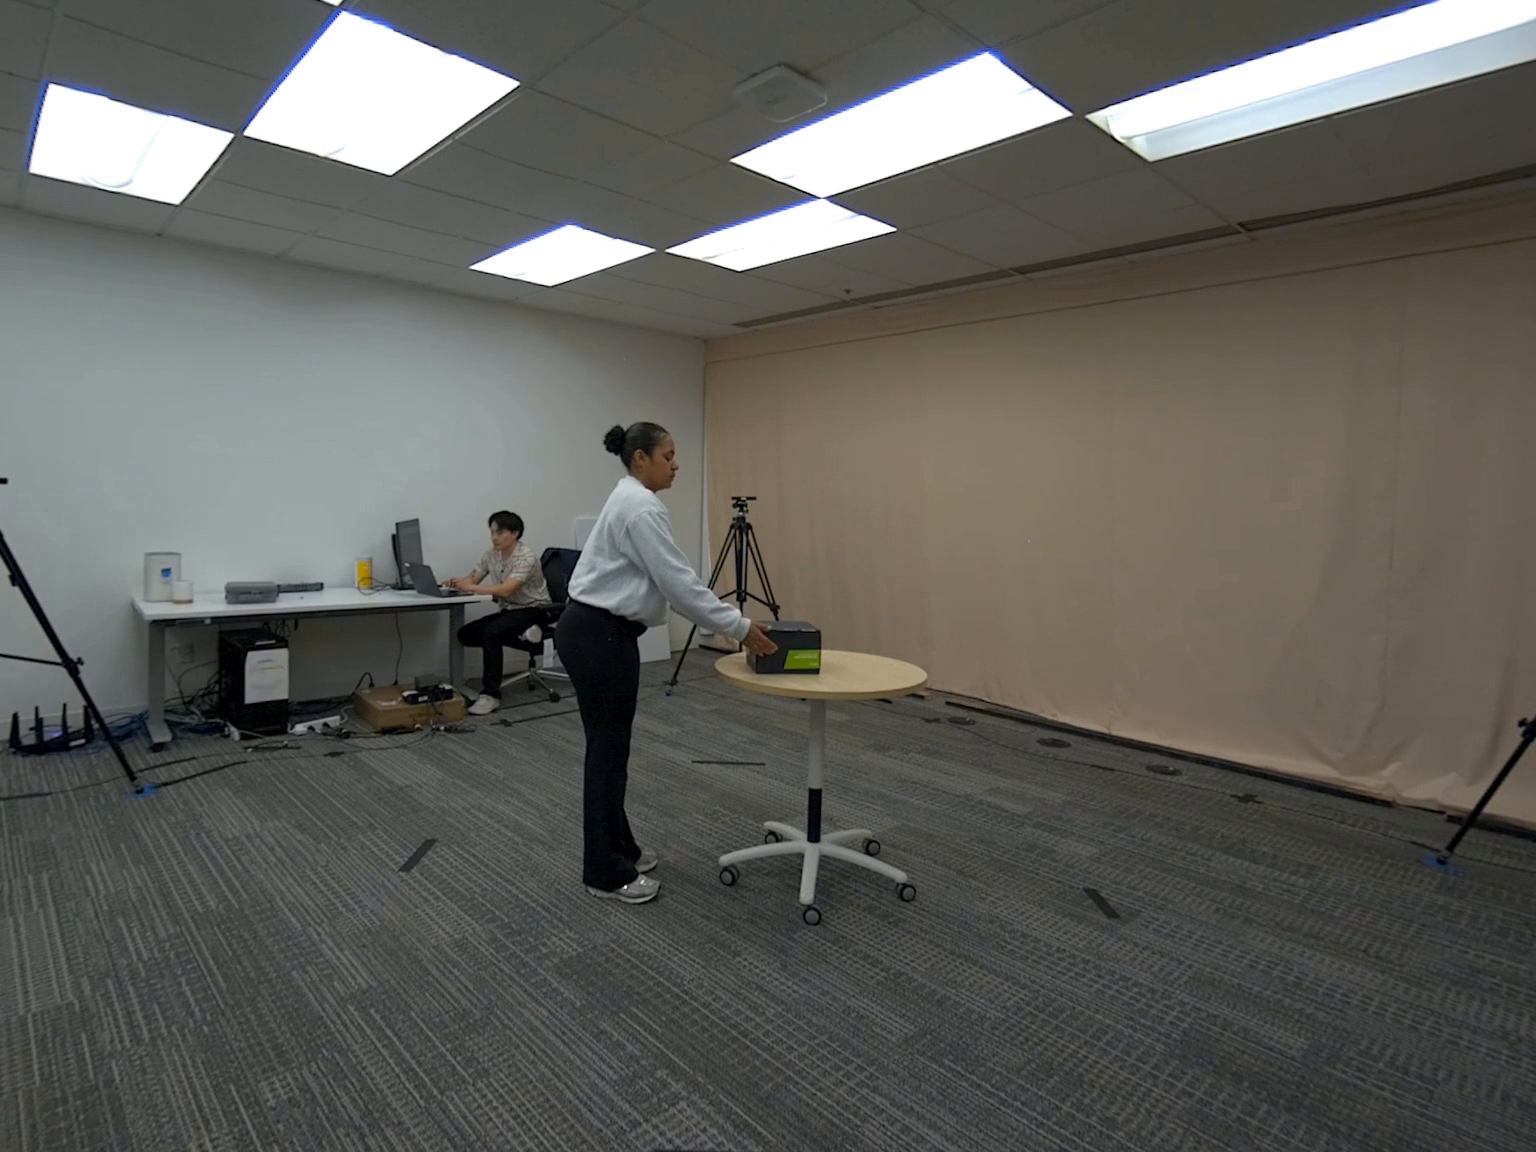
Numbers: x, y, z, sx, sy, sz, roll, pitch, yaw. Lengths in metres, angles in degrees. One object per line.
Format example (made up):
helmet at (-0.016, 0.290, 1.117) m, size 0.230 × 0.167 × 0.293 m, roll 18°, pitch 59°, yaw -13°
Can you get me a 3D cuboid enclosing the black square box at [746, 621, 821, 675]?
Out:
black square box at (0.049, 0.249, 3.026) m, size 0.226 × 0.156 × 0.219 m, roll 2°, pitch 2°, yaw -9°
